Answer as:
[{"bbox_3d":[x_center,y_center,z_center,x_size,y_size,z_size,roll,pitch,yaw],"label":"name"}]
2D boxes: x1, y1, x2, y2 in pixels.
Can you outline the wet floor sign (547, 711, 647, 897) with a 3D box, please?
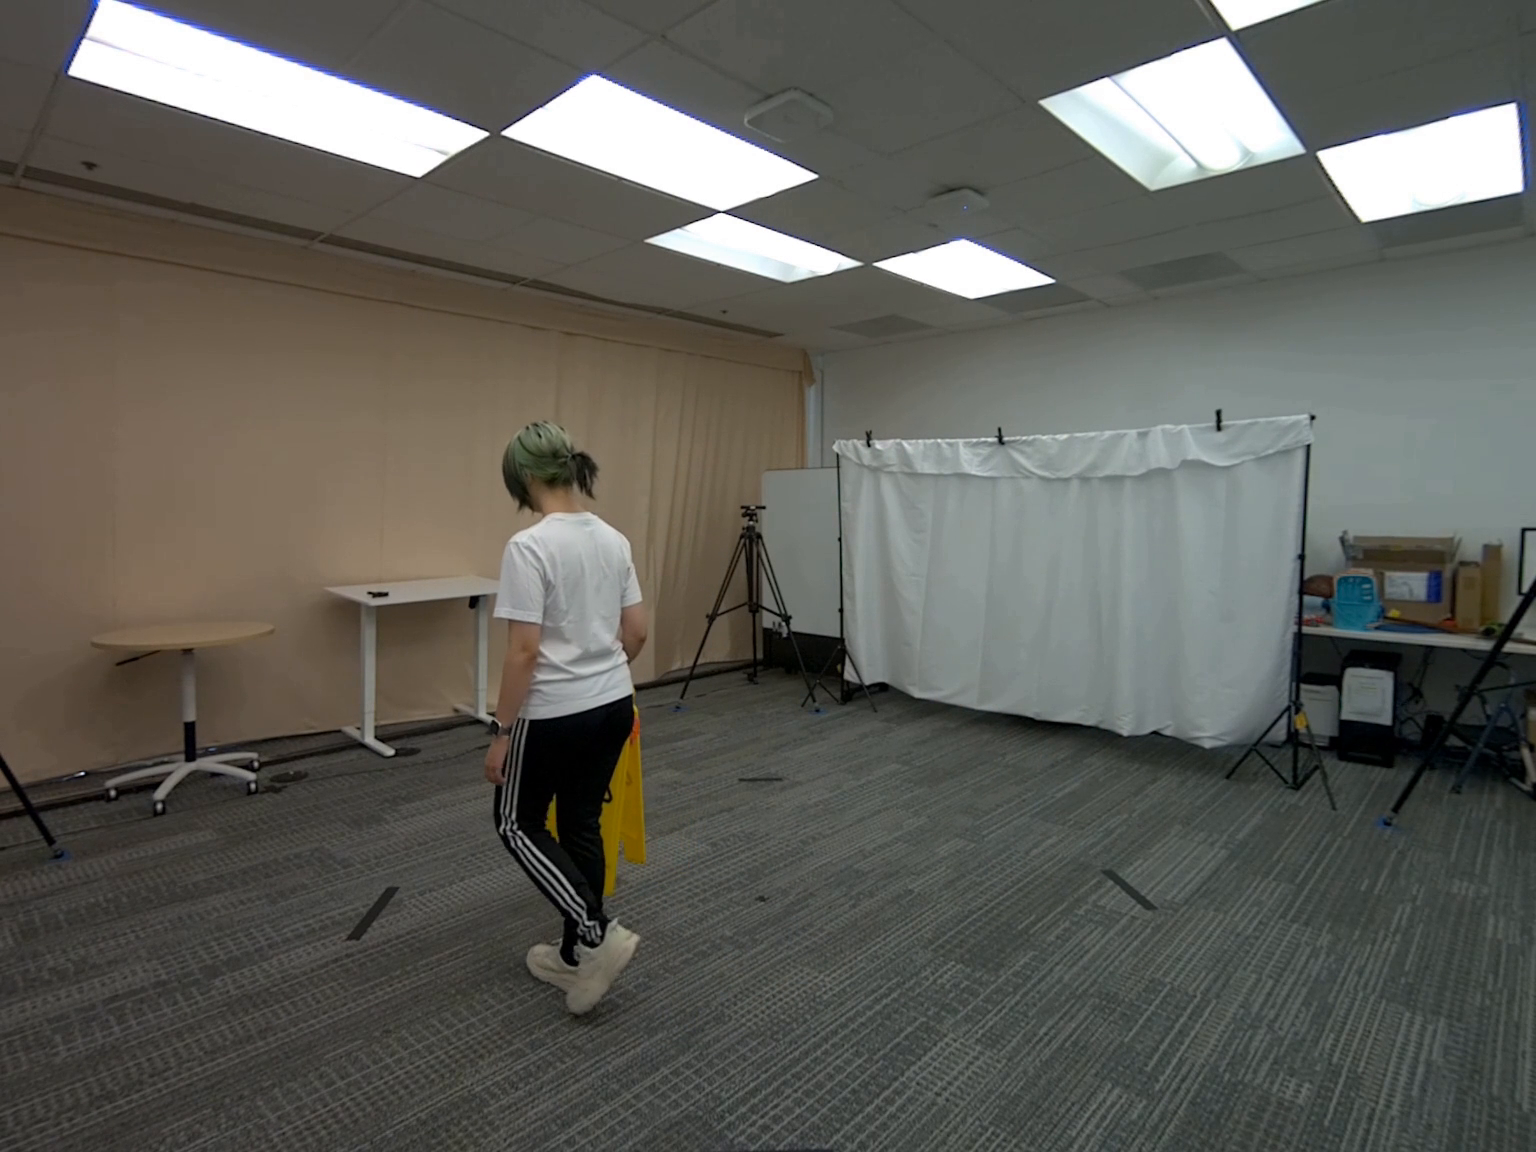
[{"bbox_3d":[-0.550,0.650,2.742,0.288,0.644,0.284,9,6,19],"label":"wet floor sign"}]
